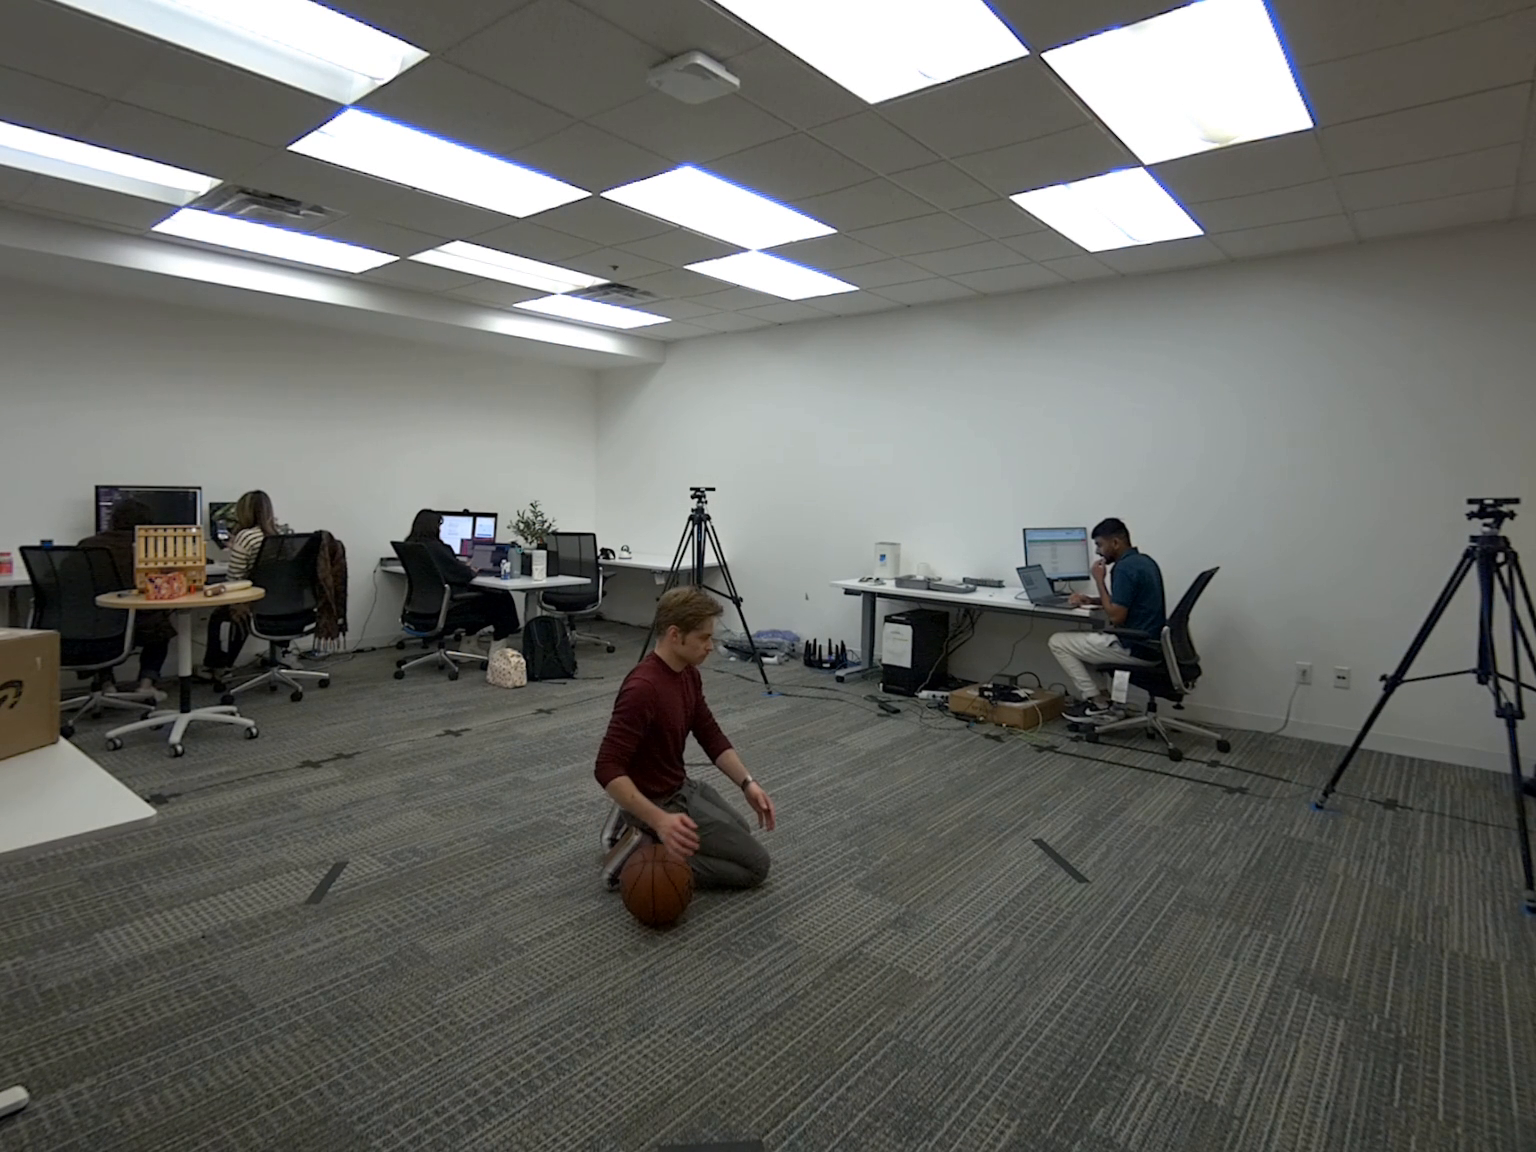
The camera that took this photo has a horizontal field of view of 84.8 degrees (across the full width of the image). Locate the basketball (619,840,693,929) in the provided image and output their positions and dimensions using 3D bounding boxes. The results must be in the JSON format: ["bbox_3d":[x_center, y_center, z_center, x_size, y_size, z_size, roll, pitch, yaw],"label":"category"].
[{"bbox_3d":[-0.367,0.977,2.721,0.235,0.235,0.237,1,4,-2],"label":"basketball"}]
